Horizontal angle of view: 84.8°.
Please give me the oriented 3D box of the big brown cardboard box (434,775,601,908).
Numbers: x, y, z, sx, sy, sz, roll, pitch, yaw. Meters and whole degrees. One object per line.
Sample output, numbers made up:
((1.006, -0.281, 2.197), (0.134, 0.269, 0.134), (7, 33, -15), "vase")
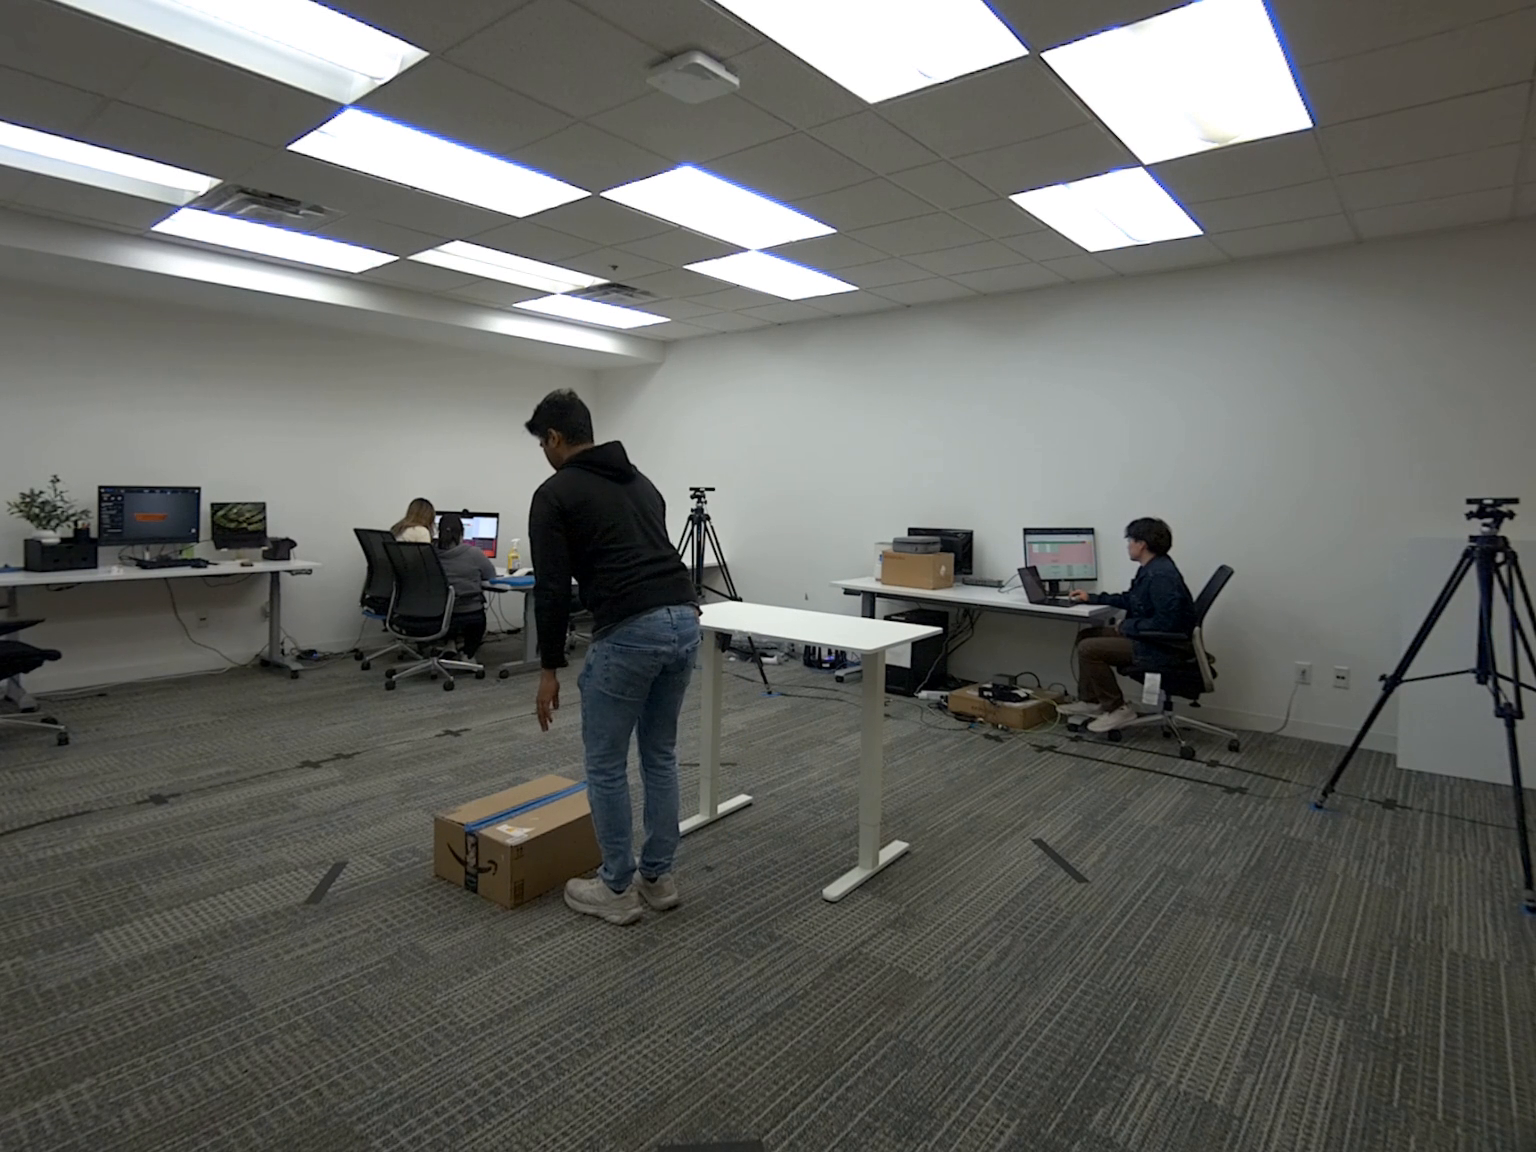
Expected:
((-0.877, 0.945, 3.115), (0.431, 0.232, 0.573), (4, 6, 33), "big brown cardboard box")
